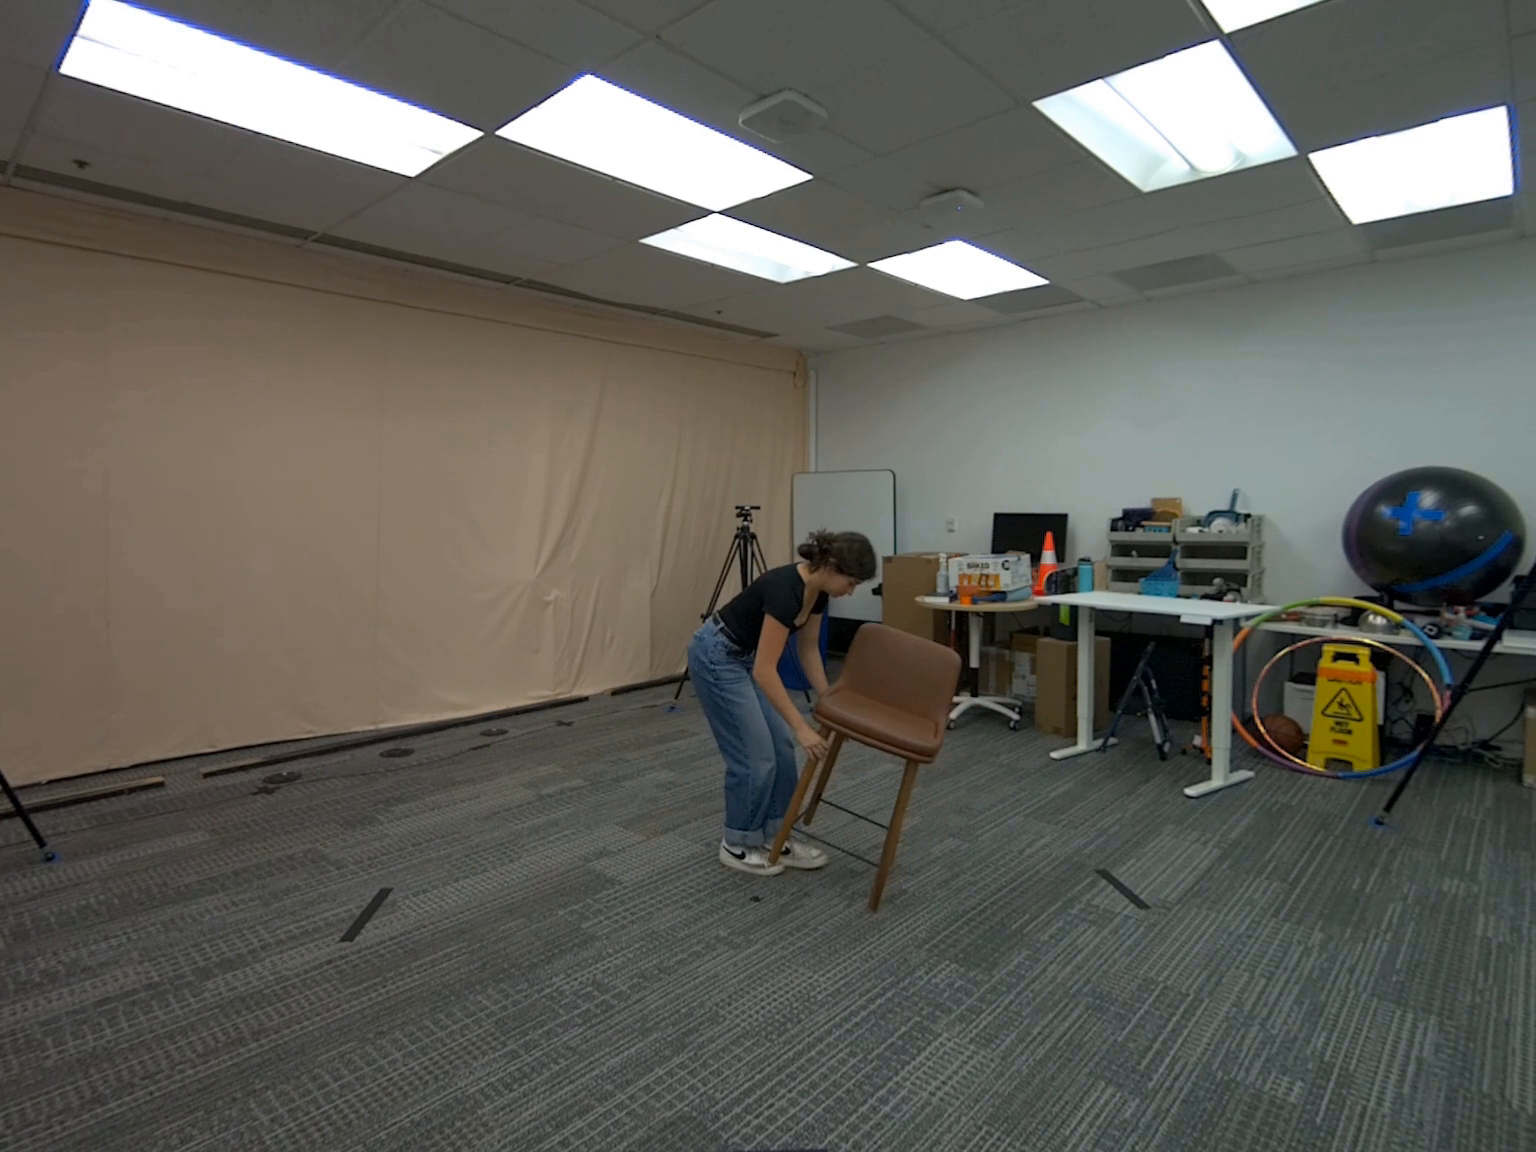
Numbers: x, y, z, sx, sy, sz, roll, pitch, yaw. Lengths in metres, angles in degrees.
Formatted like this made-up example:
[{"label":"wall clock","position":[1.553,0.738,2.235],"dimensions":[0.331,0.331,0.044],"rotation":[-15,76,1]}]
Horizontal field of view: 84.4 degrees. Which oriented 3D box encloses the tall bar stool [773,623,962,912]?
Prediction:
[{"label":"tall bar stool","position":[0.384,0.668,3.096],"dimensions":[0.467,0.888,0.458],"rotation":[20,7,18]}]
